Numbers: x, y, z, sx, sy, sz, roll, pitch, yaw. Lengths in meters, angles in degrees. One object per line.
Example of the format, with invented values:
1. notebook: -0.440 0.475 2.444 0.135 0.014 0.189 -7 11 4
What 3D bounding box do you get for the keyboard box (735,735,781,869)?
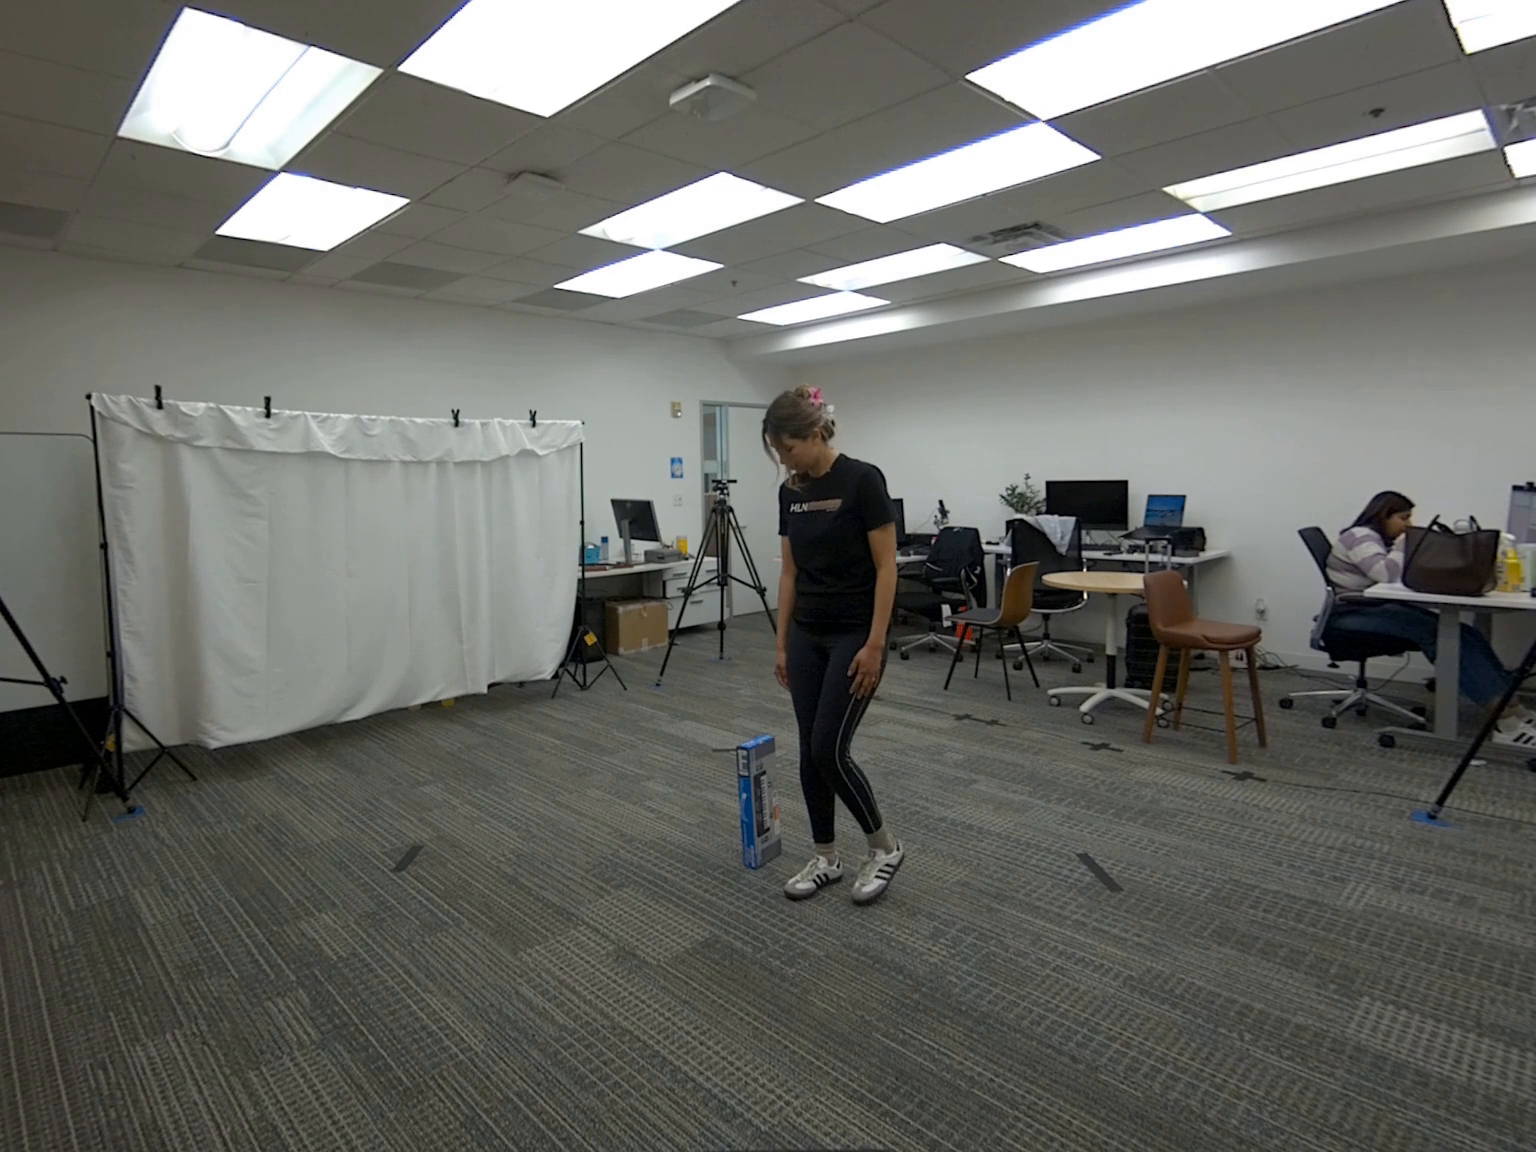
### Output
1. keyboard box: -0.029 0.825 3.139 0.060 0.436 0.172 -3 2 34
